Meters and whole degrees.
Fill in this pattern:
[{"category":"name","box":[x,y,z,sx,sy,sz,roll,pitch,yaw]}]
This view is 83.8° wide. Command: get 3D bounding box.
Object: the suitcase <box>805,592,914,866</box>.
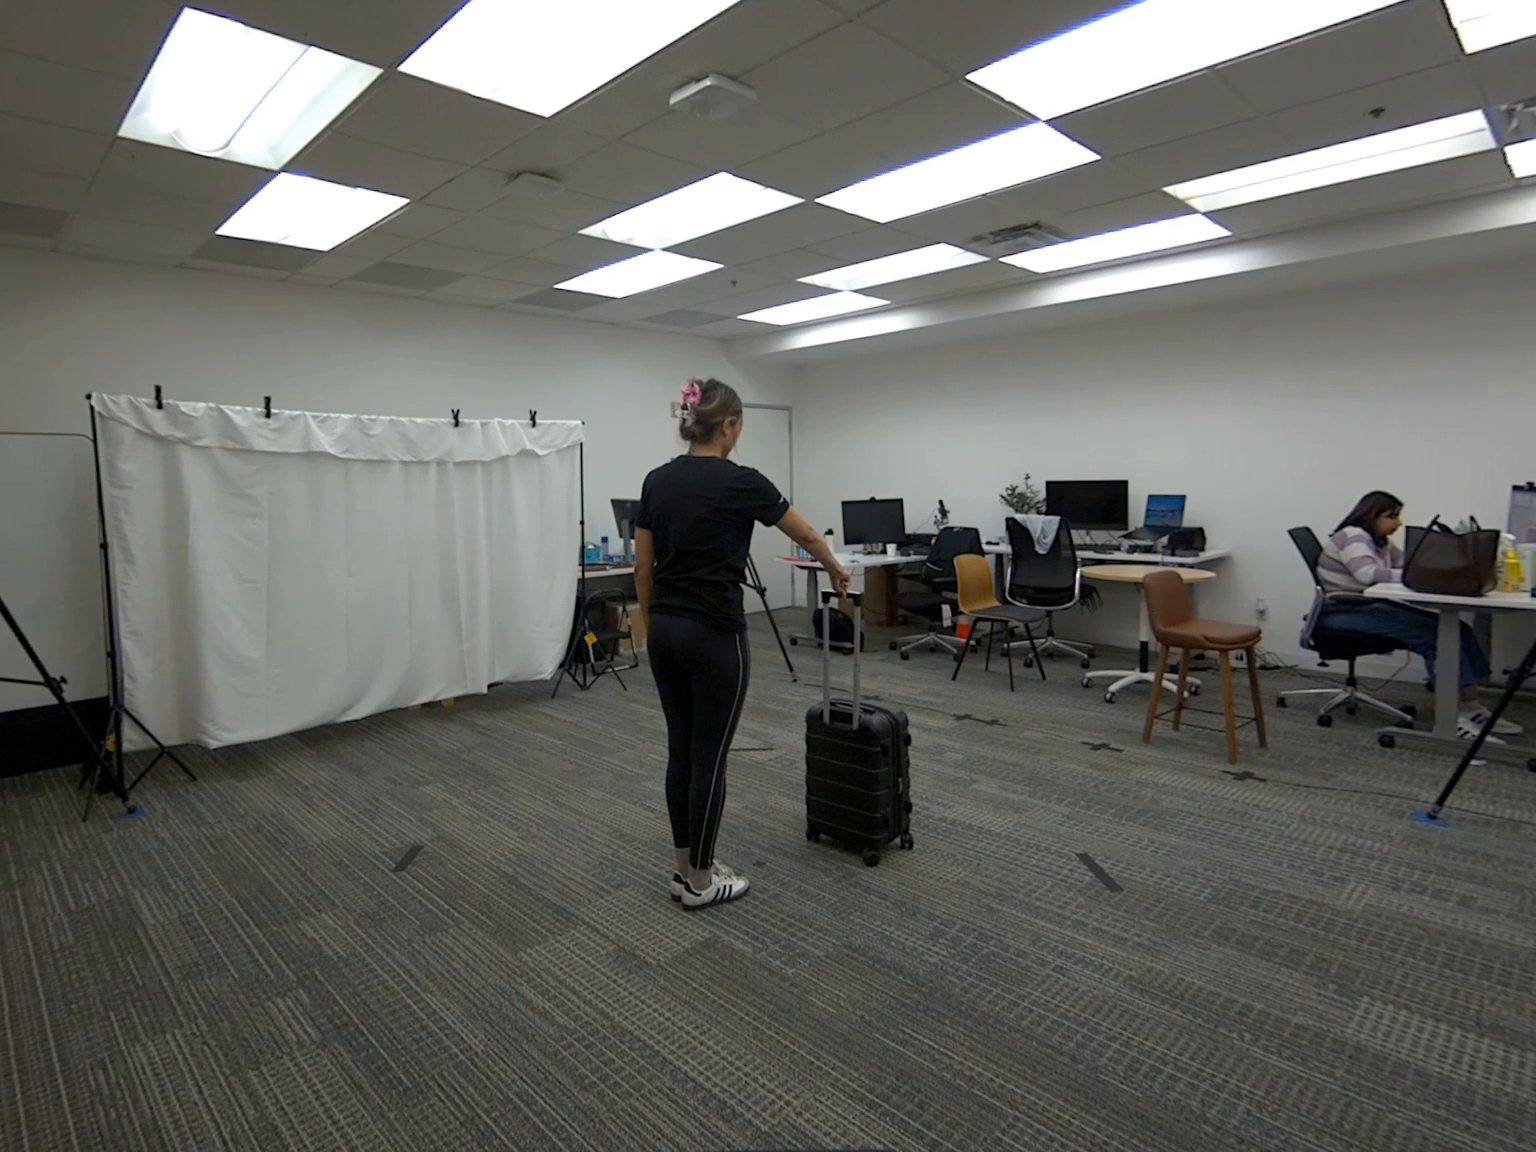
[{"category":"suitcase","box":[0.344,0.550,3.244,0.395,0.976,0.250,2,3,42]}]
